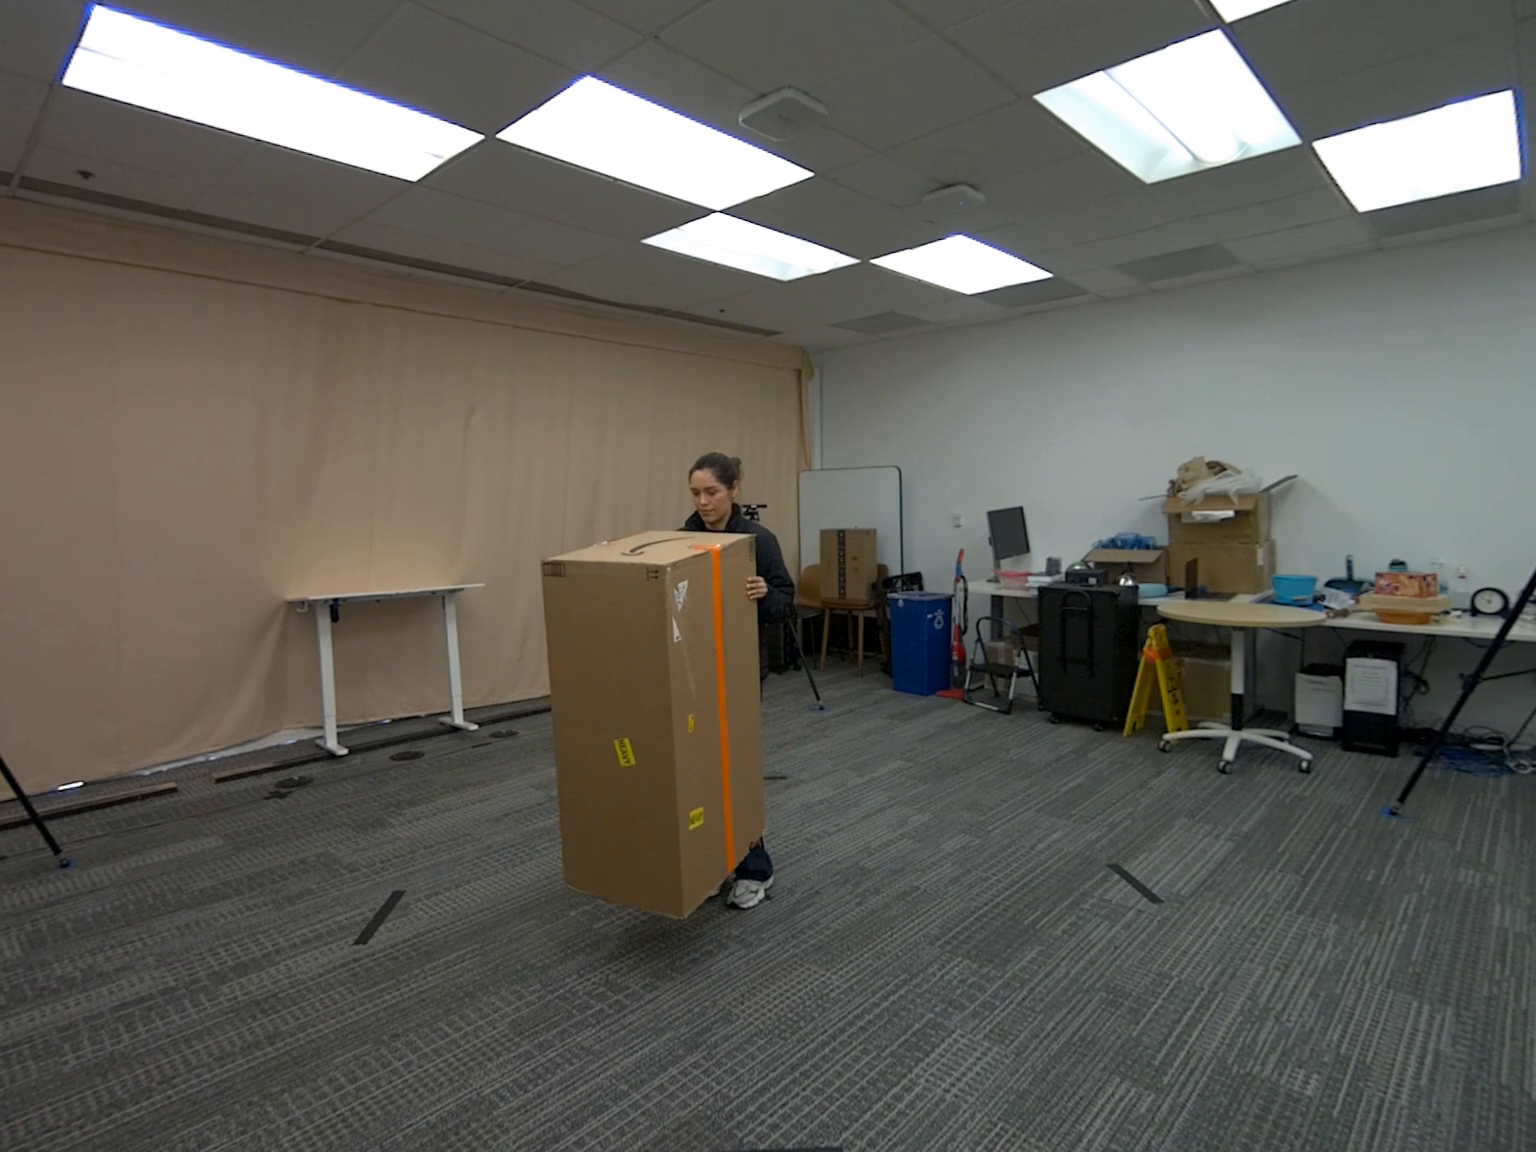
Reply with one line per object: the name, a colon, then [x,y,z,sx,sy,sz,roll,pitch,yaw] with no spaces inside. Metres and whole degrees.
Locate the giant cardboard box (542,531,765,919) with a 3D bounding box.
giant cardboard box: [-0.323,0.422,2.635,0.438,1.020,0.565,2,10,26]
